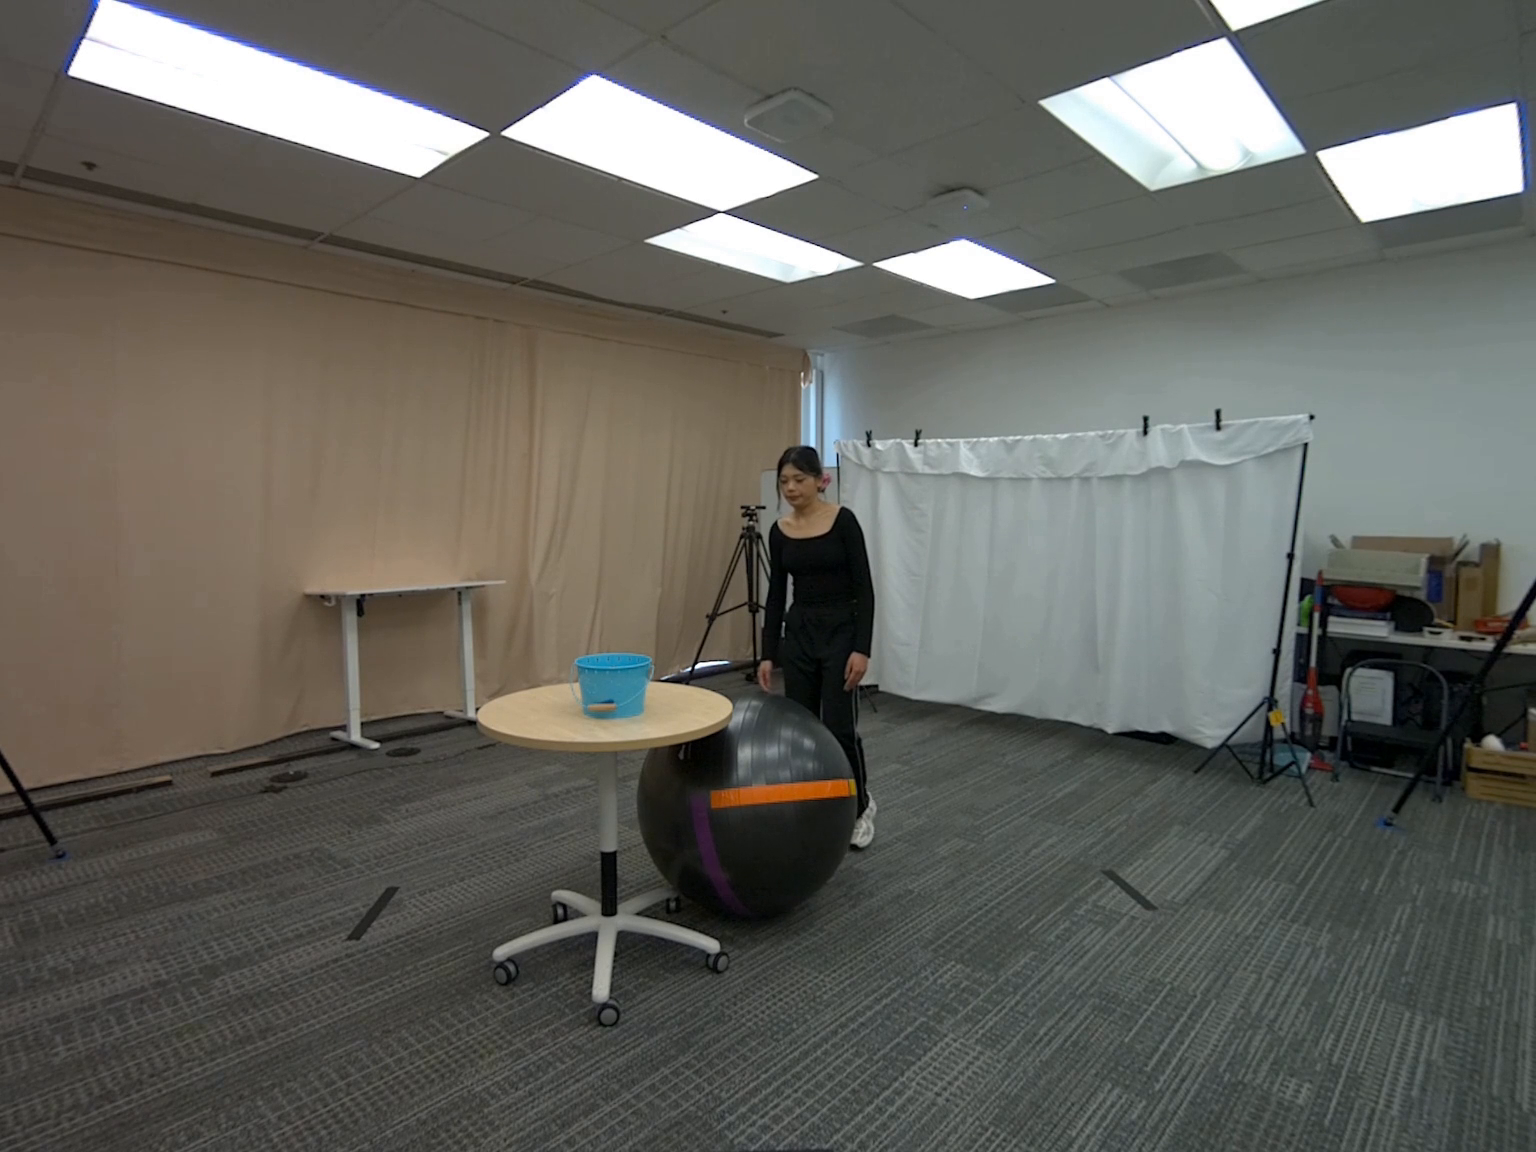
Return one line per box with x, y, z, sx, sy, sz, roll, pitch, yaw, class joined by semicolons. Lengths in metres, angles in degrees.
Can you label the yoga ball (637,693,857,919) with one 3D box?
-0.080;0.784;2.928;0.757;0.756;0.760;0;4;-2;yoga ball
